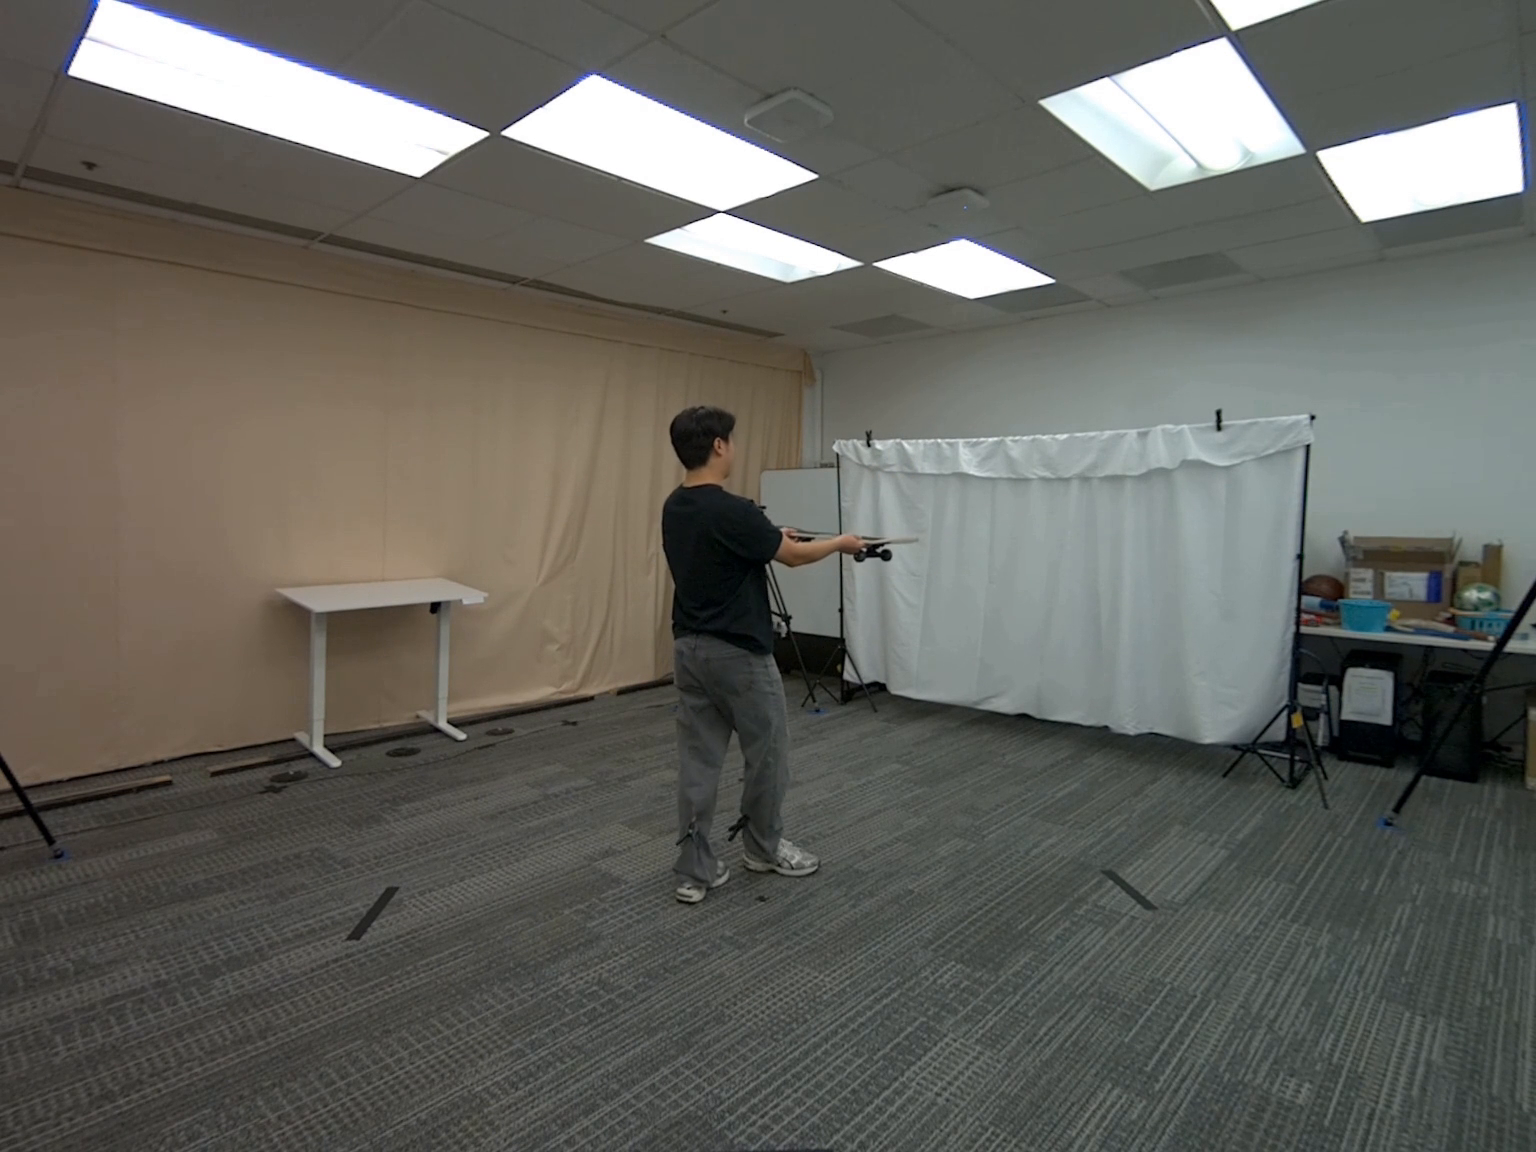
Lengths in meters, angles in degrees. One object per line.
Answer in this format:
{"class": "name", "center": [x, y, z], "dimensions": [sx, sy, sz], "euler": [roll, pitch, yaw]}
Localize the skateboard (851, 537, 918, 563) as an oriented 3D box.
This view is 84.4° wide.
{"class": "skateboard", "center": [0.295, -0.128, 3.439], "dimensions": [0.187, 0.110, 0.812], "euler": [-3, 8, -41]}
